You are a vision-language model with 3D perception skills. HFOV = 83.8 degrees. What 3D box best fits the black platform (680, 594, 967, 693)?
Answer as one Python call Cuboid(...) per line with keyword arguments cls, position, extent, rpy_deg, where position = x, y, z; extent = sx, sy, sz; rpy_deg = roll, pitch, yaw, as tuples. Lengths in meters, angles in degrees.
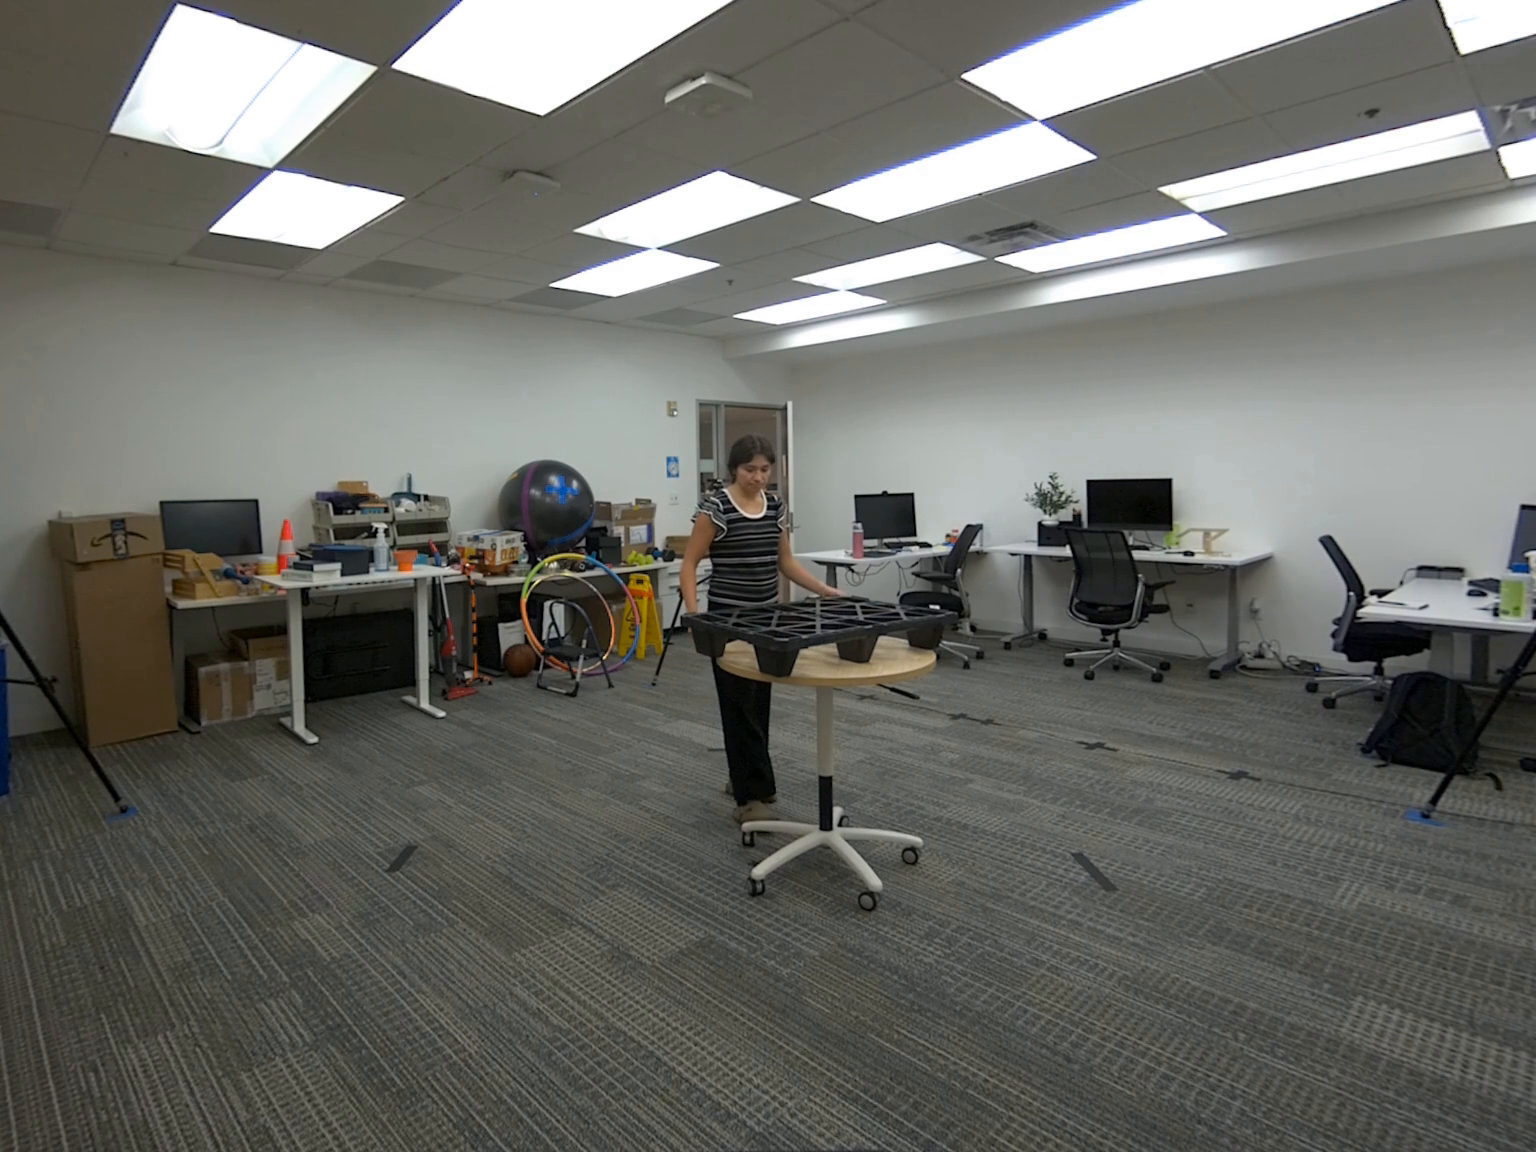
Cuboid(cls="black platform", position=(0.191, 0.209, 3.030), extent=(0.785, 0.142, 0.624), rpy_deg=(-6, 9, -36))
